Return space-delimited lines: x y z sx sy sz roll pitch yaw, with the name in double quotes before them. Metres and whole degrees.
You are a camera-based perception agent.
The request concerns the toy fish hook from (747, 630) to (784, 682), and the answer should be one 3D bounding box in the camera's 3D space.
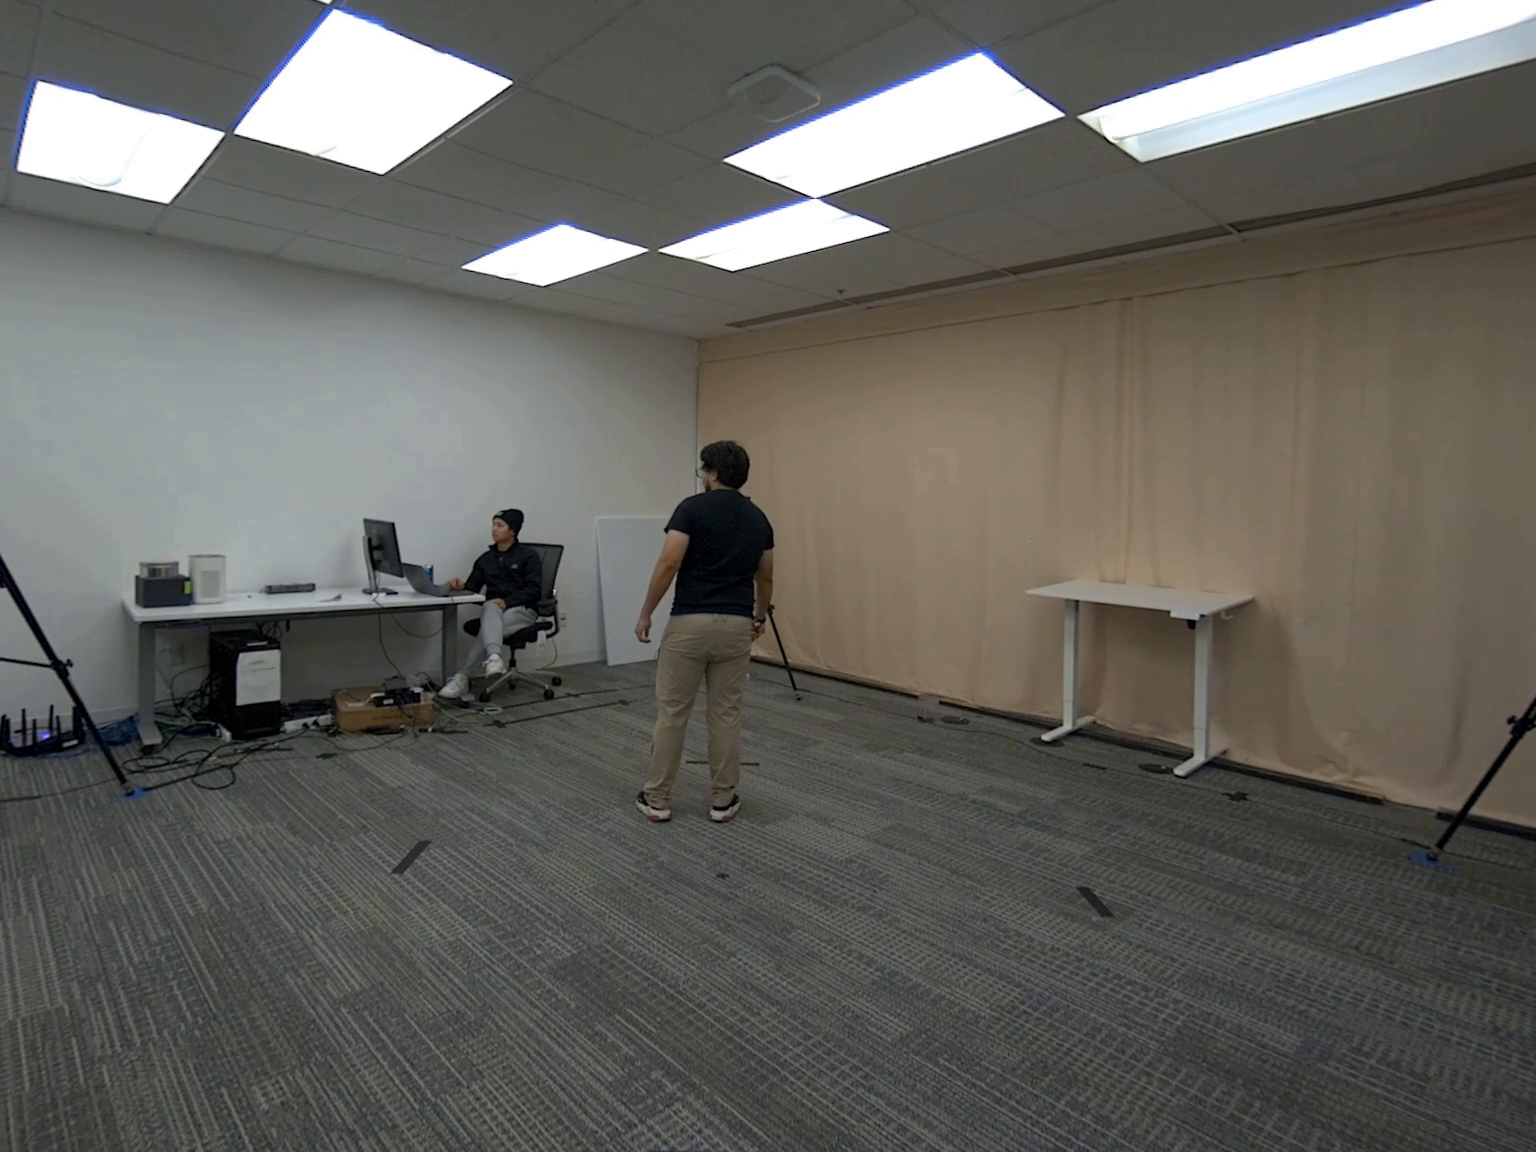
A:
"toy fish hook" -0.135 0.393 4.167 0.048 0.226 0.506 -36 -6 -40
